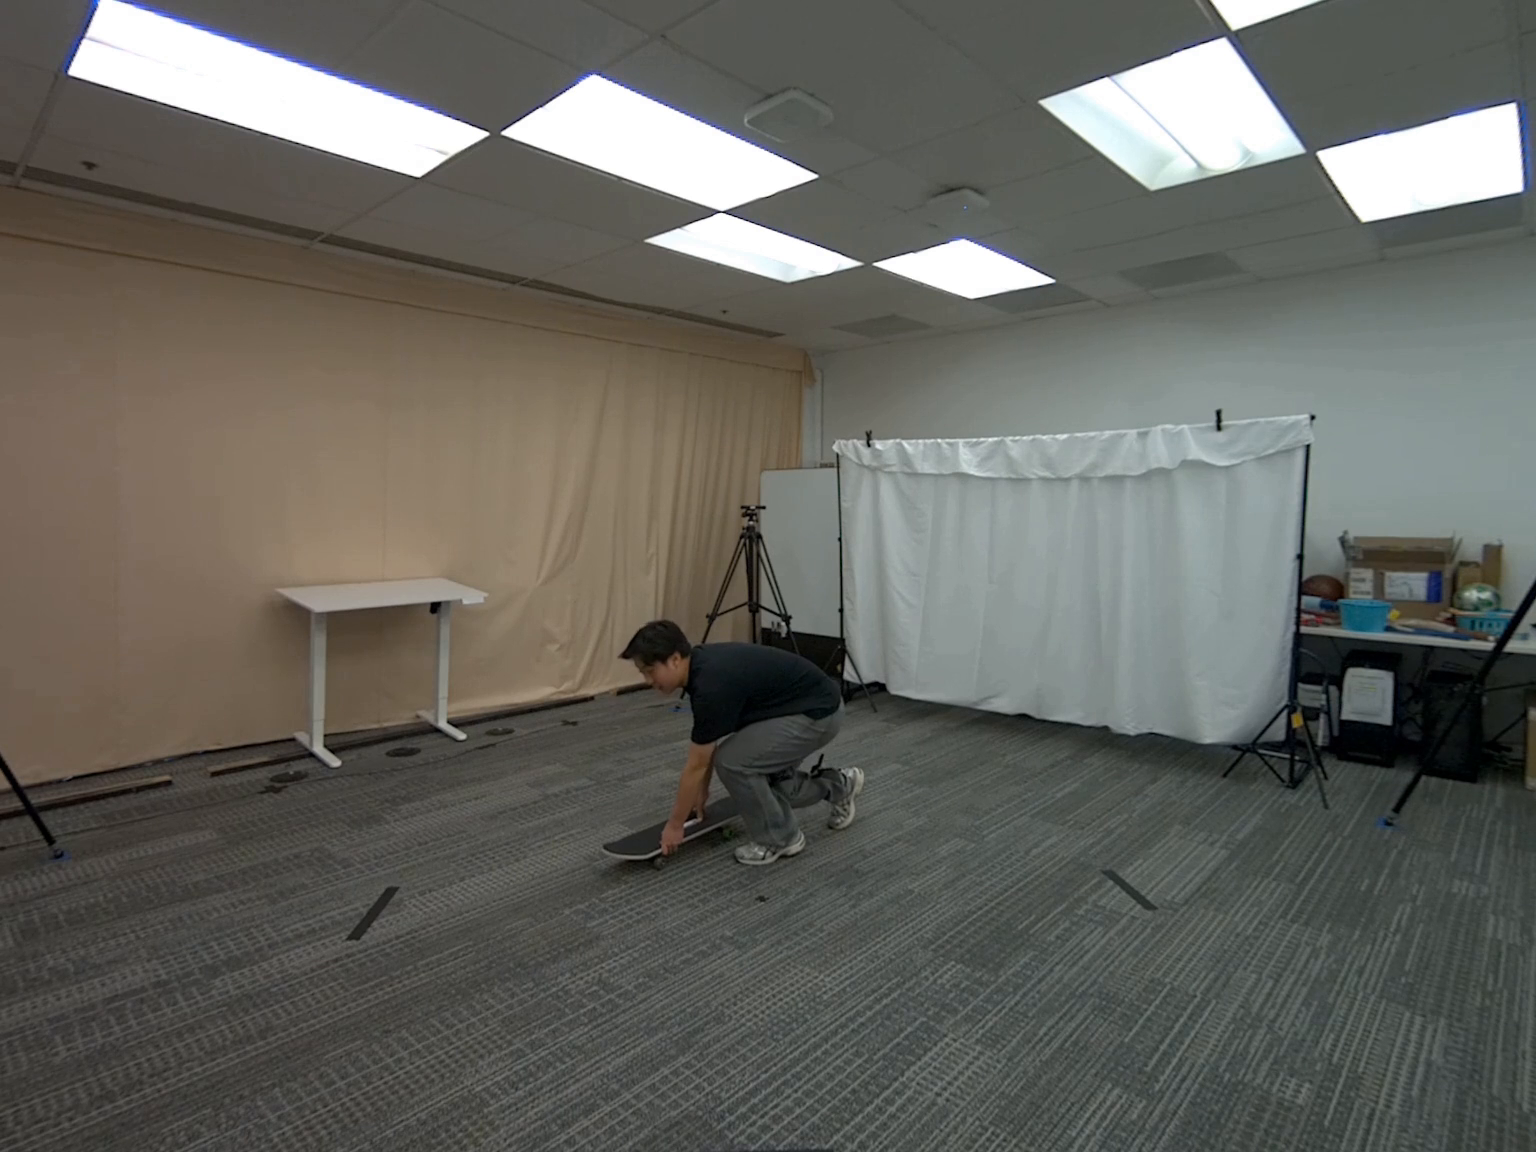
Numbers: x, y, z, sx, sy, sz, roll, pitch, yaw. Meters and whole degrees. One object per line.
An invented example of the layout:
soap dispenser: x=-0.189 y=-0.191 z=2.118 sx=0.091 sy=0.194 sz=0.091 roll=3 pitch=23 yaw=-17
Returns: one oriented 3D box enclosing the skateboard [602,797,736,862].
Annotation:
skateboard: x=-0.349 y=1.054 z=3.417 sx=0.200 sy=0.110 sz=0.762 roll=2 pitch=5 yaw=41
